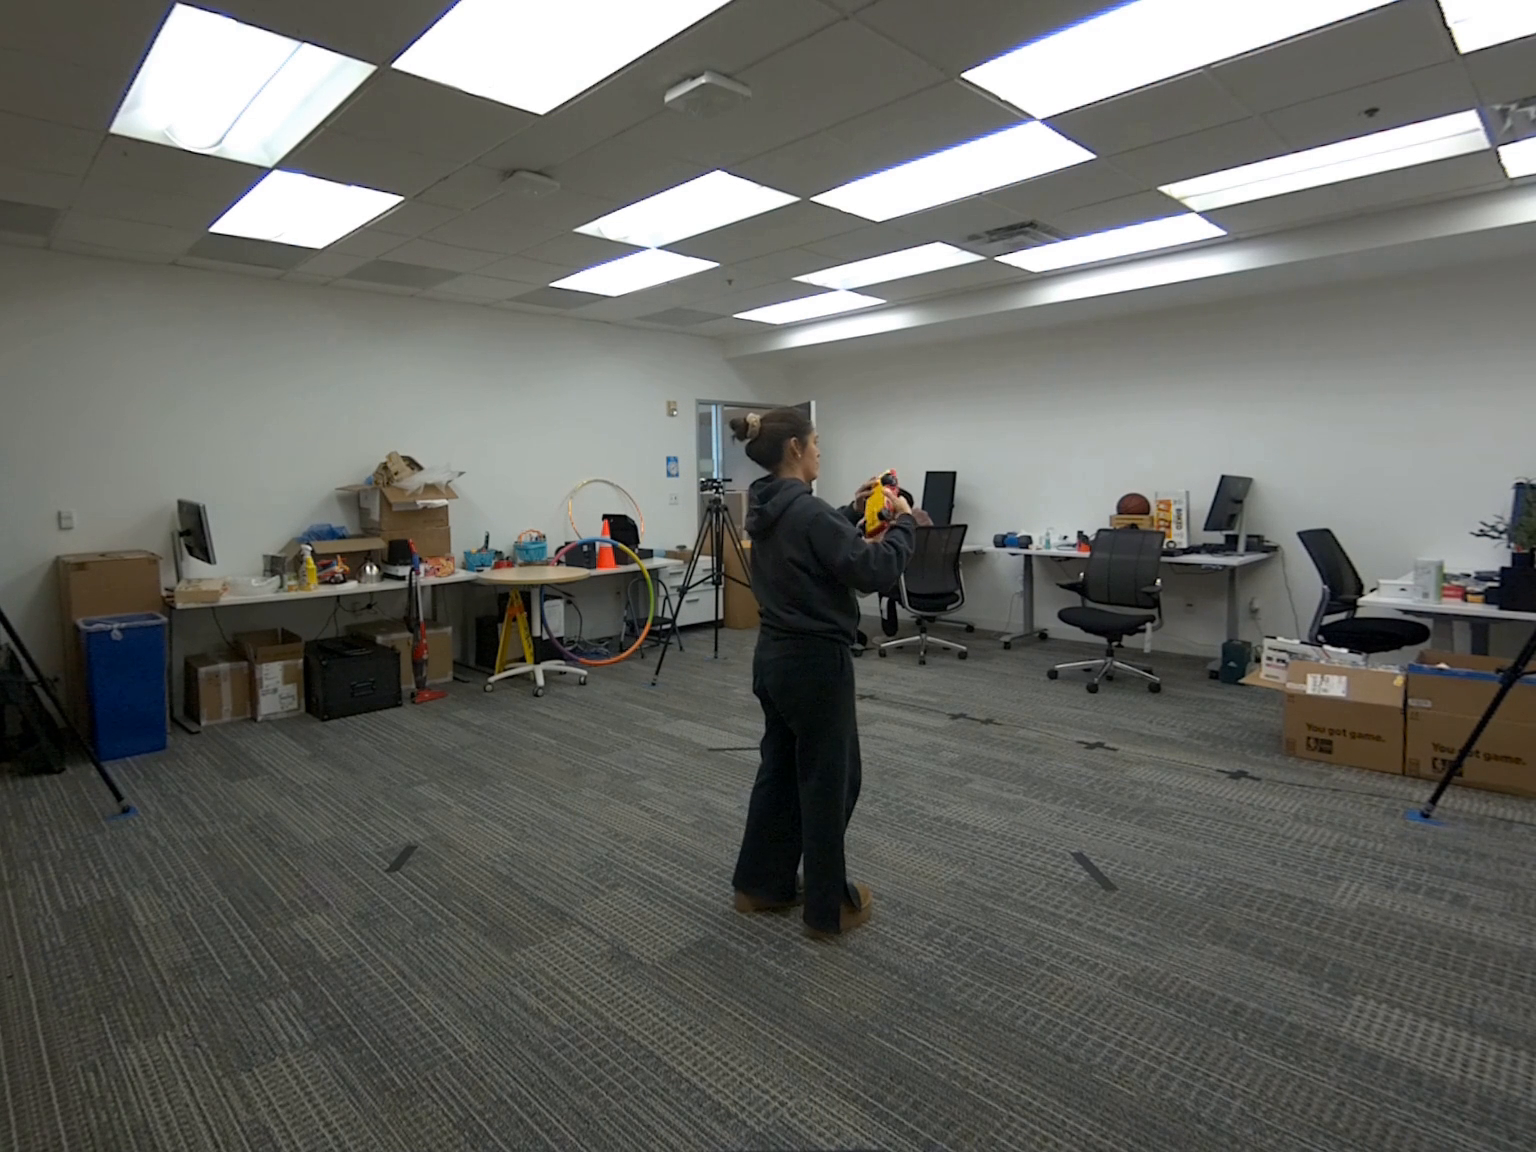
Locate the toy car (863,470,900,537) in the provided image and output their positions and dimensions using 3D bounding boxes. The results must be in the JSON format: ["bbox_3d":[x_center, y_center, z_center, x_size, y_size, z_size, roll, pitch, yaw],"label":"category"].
[{"bbox_3d":[0.348,-0.239,2.665,0.082,0.257,0.131,38,-45,-13],"label":"toy car"}]
